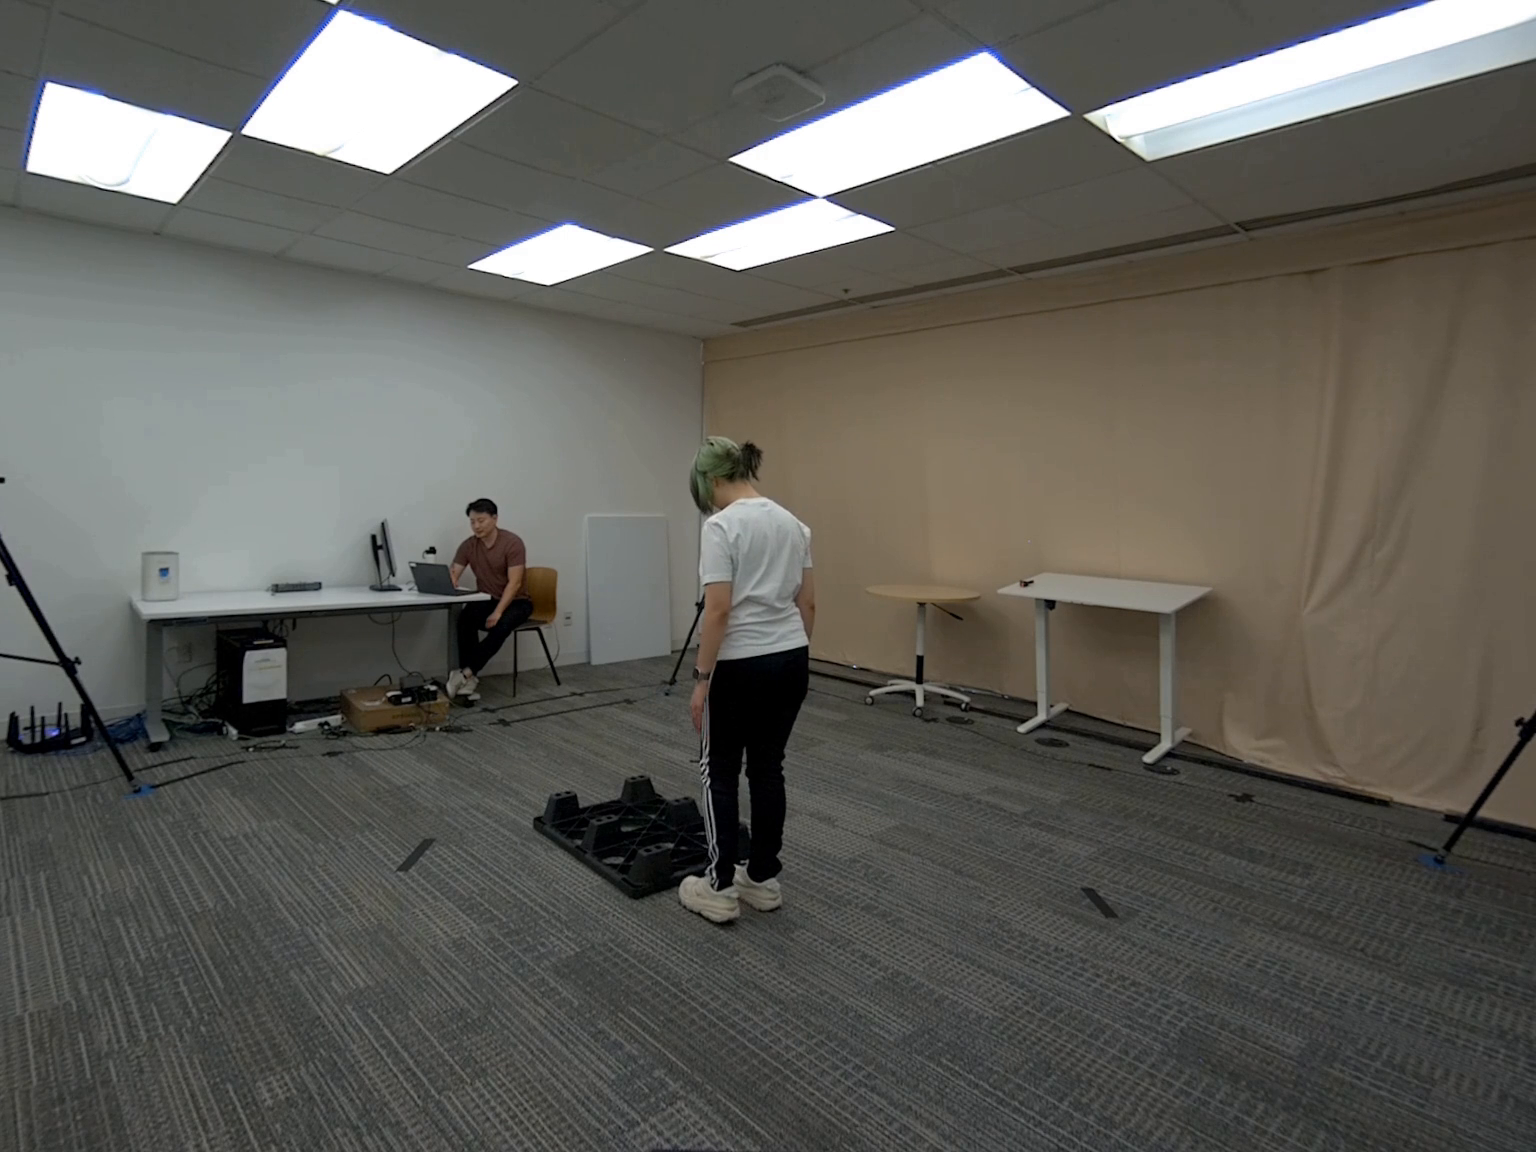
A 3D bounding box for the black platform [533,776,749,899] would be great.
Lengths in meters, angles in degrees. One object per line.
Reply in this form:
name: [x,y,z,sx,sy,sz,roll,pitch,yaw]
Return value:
black platform: [-0.498,1.006,3.382,0.592,0.143,0.826,-4,7,-40]
